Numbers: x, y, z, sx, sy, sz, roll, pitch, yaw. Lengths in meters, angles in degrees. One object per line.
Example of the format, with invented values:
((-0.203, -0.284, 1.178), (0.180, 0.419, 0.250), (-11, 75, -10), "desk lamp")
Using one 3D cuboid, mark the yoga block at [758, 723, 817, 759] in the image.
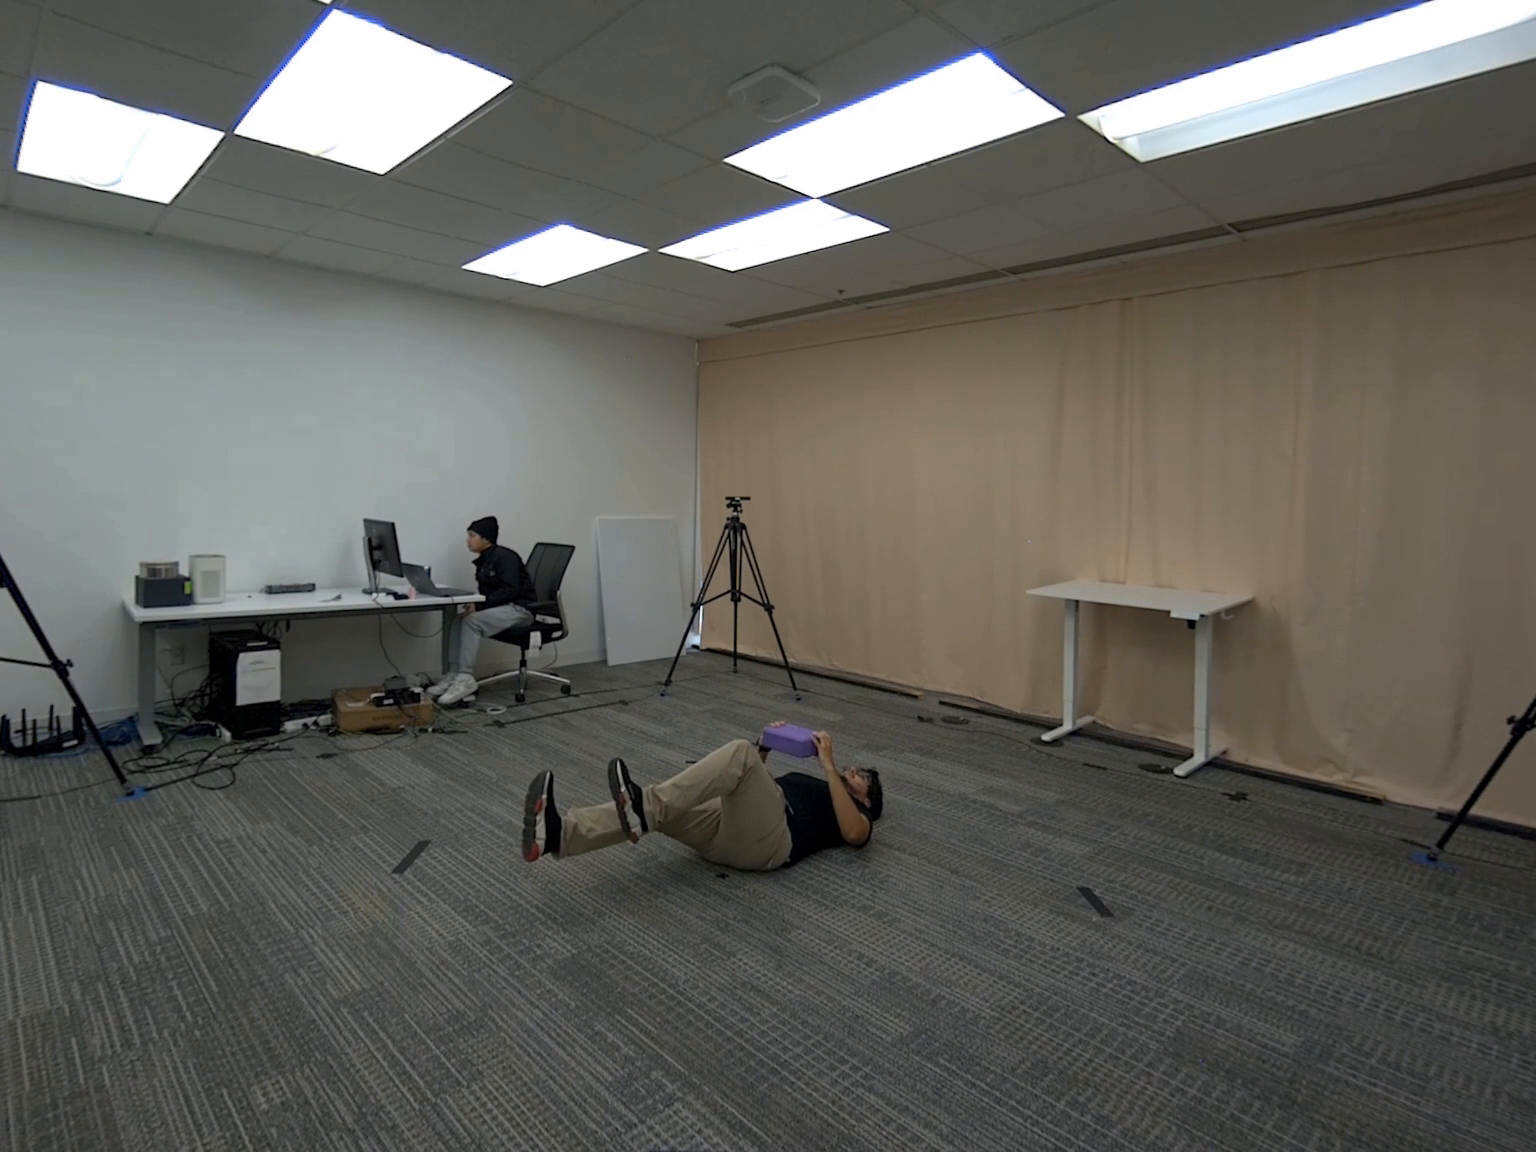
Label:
((0.095, 0.666, 3.408), (0.235, 0.076, 0.145), (6, 6, 44), "yoga block")
